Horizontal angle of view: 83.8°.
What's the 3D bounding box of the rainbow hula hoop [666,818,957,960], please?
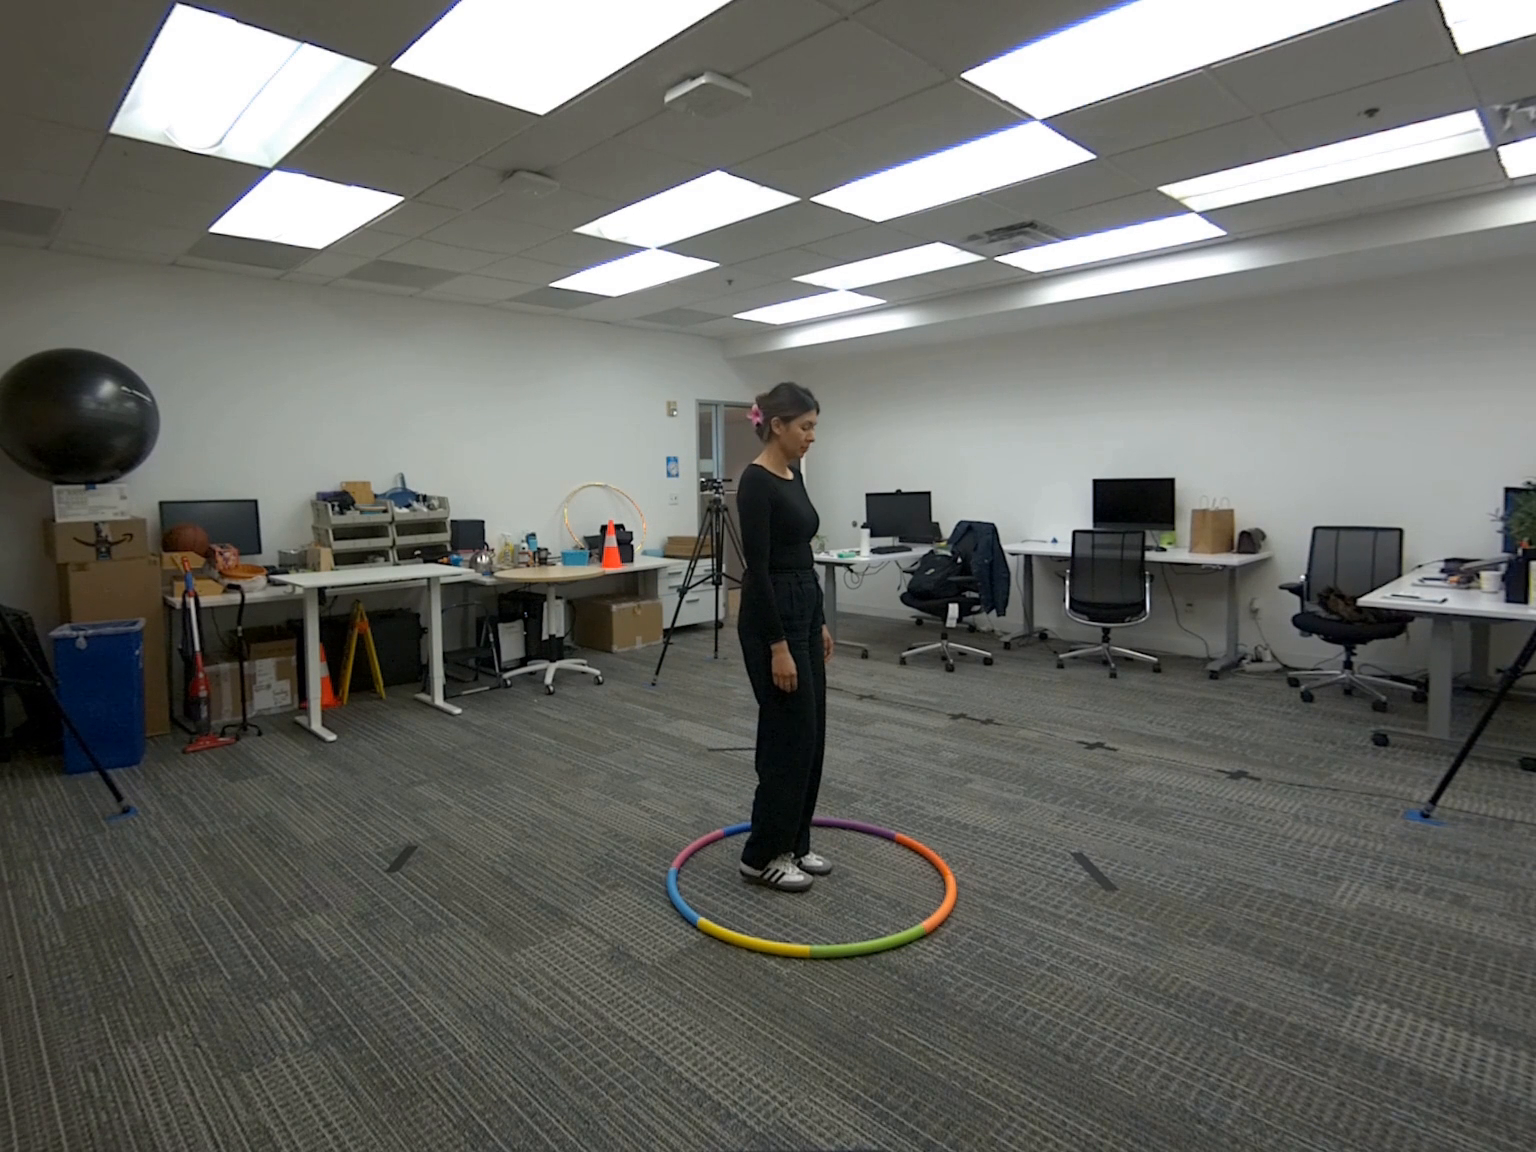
[{"bbox_3d":[0.142,1.029,2.964,0.978,0.035,0.984,-2,7,-2],"label":"rainbow hula hoop"}]
